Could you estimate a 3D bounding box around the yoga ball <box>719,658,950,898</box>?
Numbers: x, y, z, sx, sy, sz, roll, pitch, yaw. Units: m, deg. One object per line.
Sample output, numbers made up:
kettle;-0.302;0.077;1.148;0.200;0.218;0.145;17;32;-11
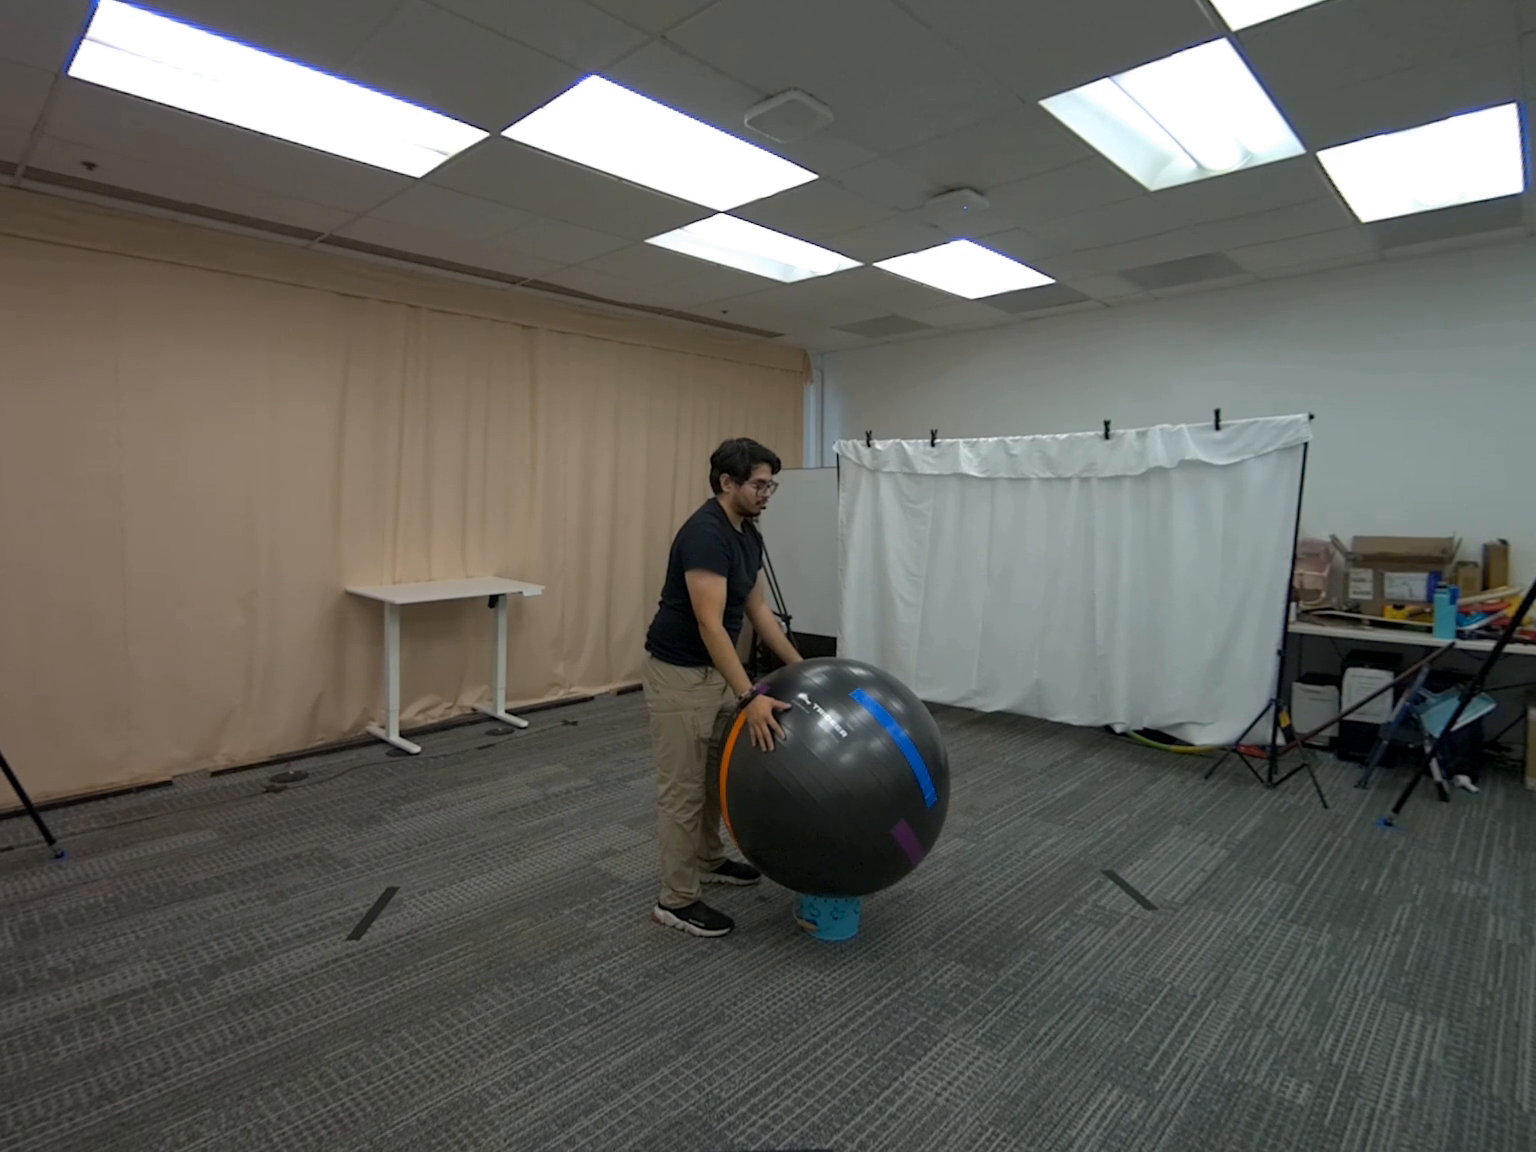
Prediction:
yoga ball;0.223;0.656;2.758;0.757;0.756;0.761;0;4;-2
